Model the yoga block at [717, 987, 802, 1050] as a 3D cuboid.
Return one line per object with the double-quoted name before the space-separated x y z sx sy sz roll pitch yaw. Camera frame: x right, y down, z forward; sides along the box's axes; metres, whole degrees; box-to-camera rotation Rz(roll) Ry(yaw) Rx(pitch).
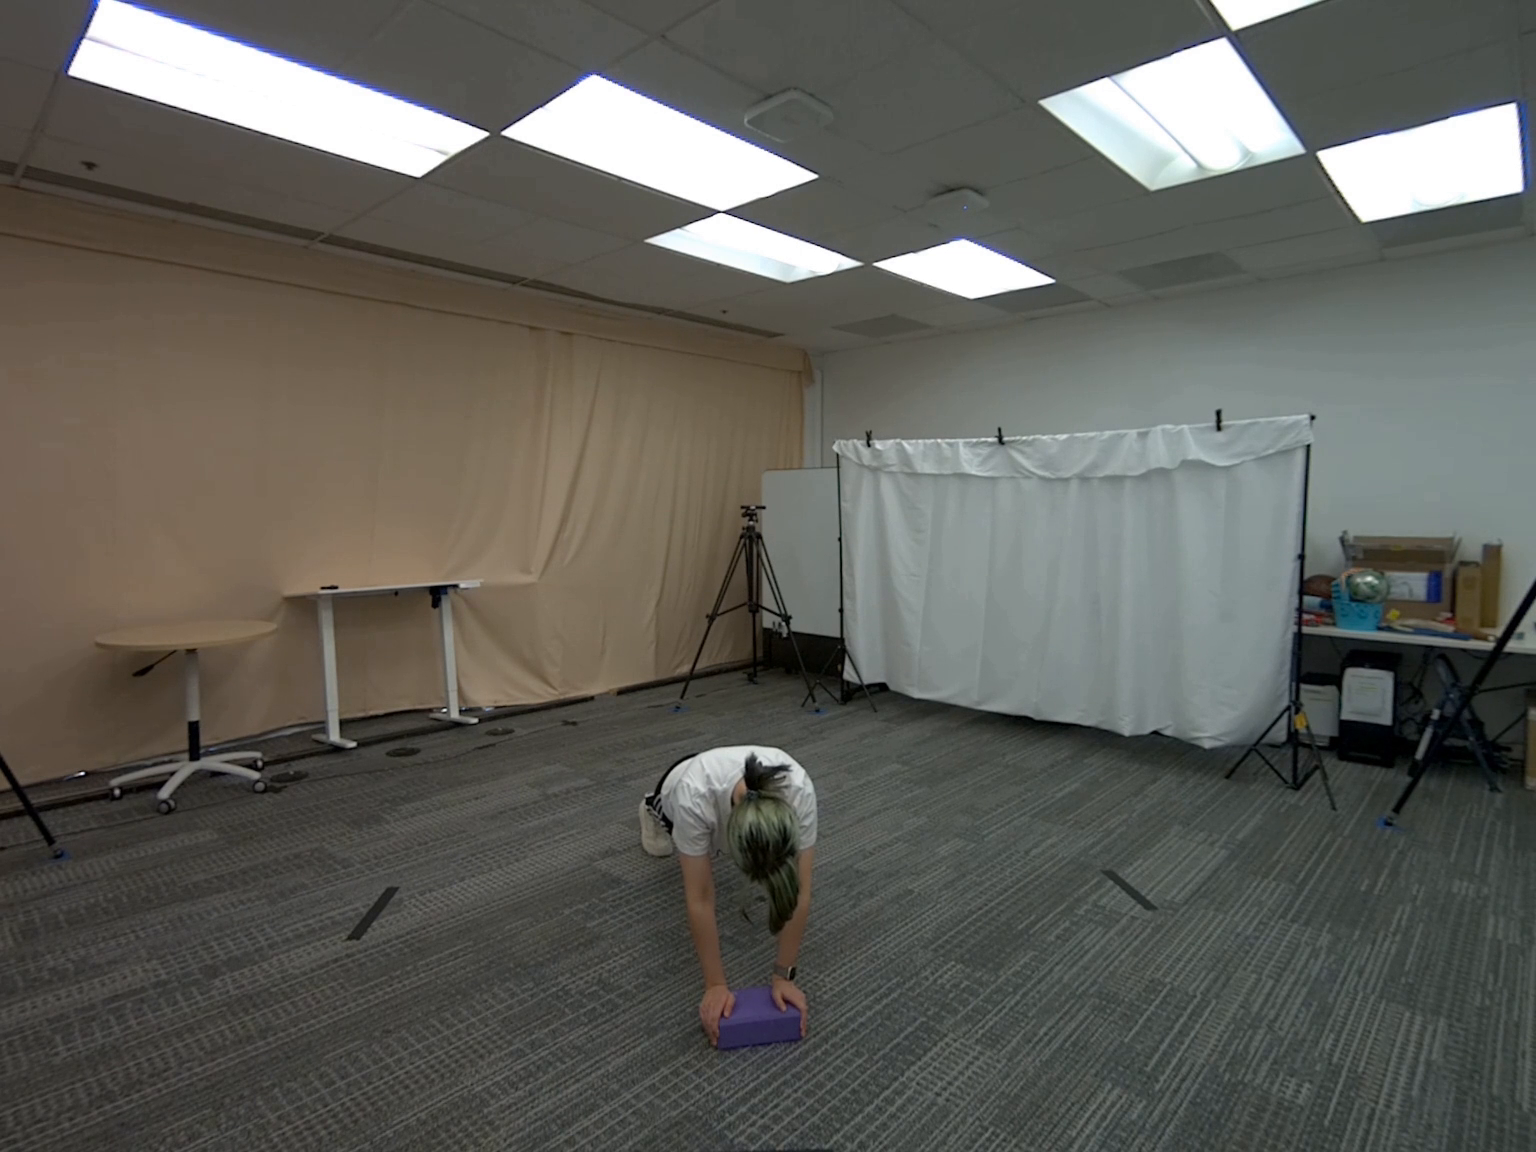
"yoga block" -0.040 1.168 2.243 0.227 0.076 0.151 0 4 -10
